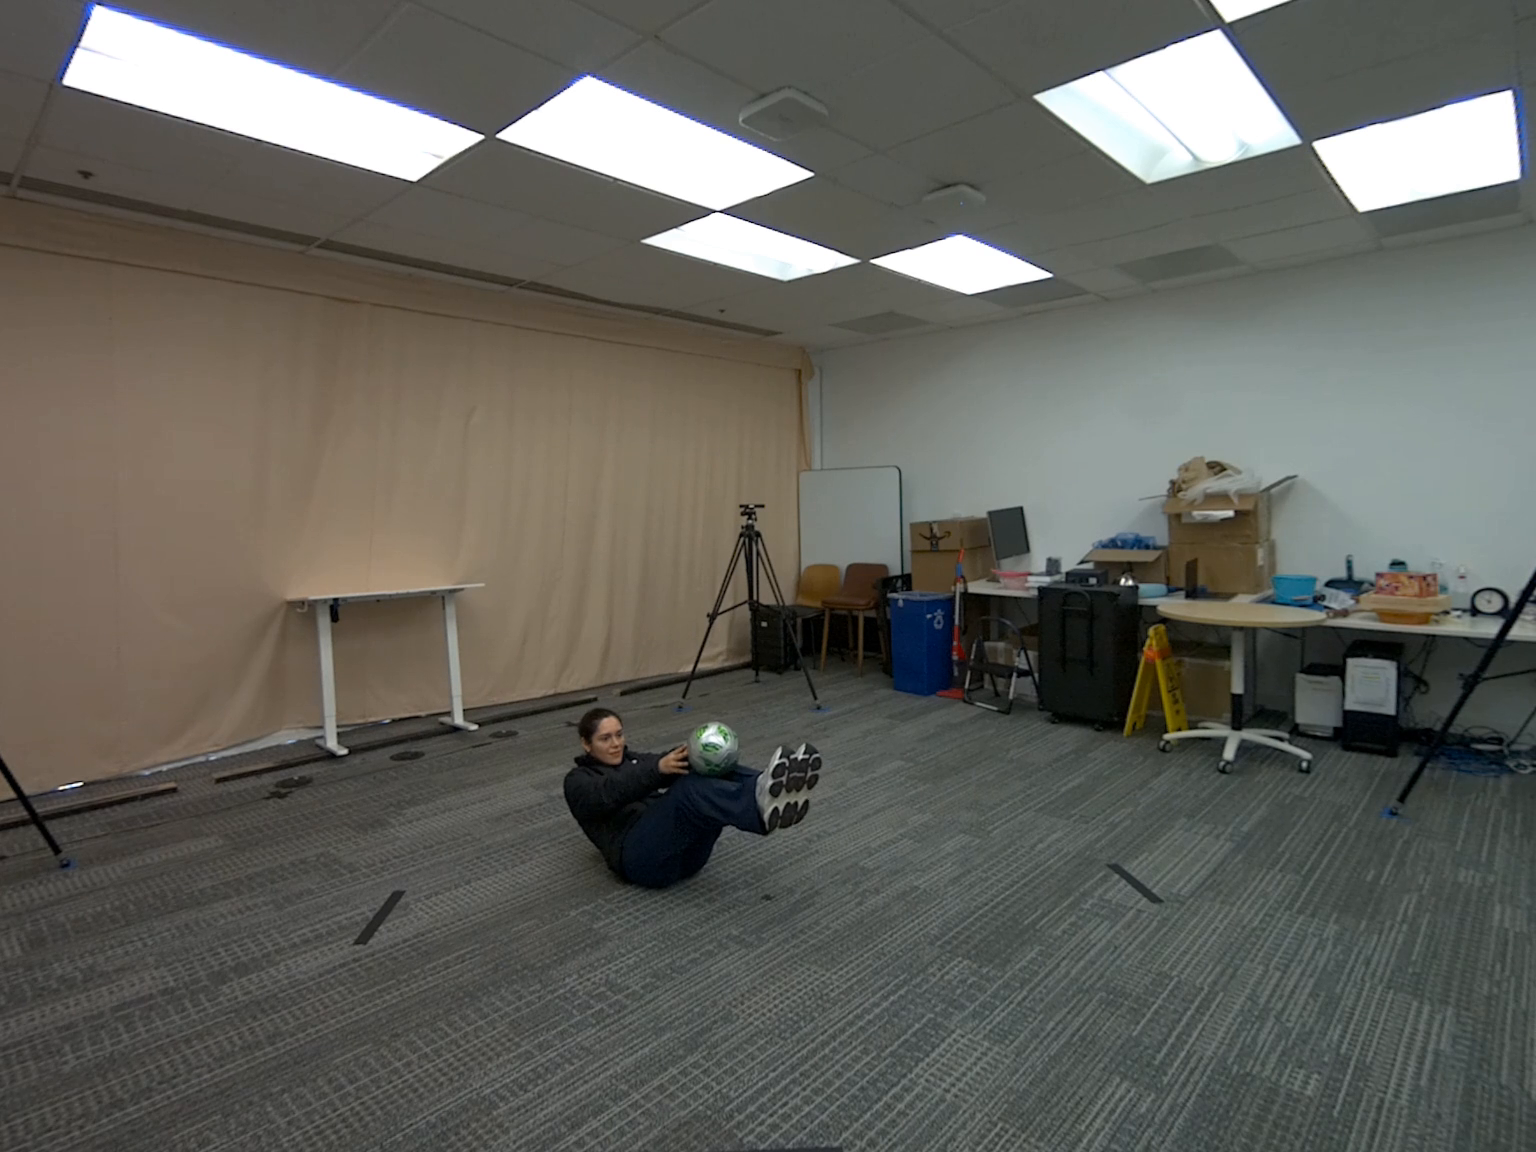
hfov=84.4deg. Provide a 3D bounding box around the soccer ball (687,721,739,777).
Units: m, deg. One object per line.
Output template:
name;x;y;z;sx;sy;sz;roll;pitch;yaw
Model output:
soccer ball;-0.176;0.604;2.906;0.187;0.187;0.188;2;5;-2
